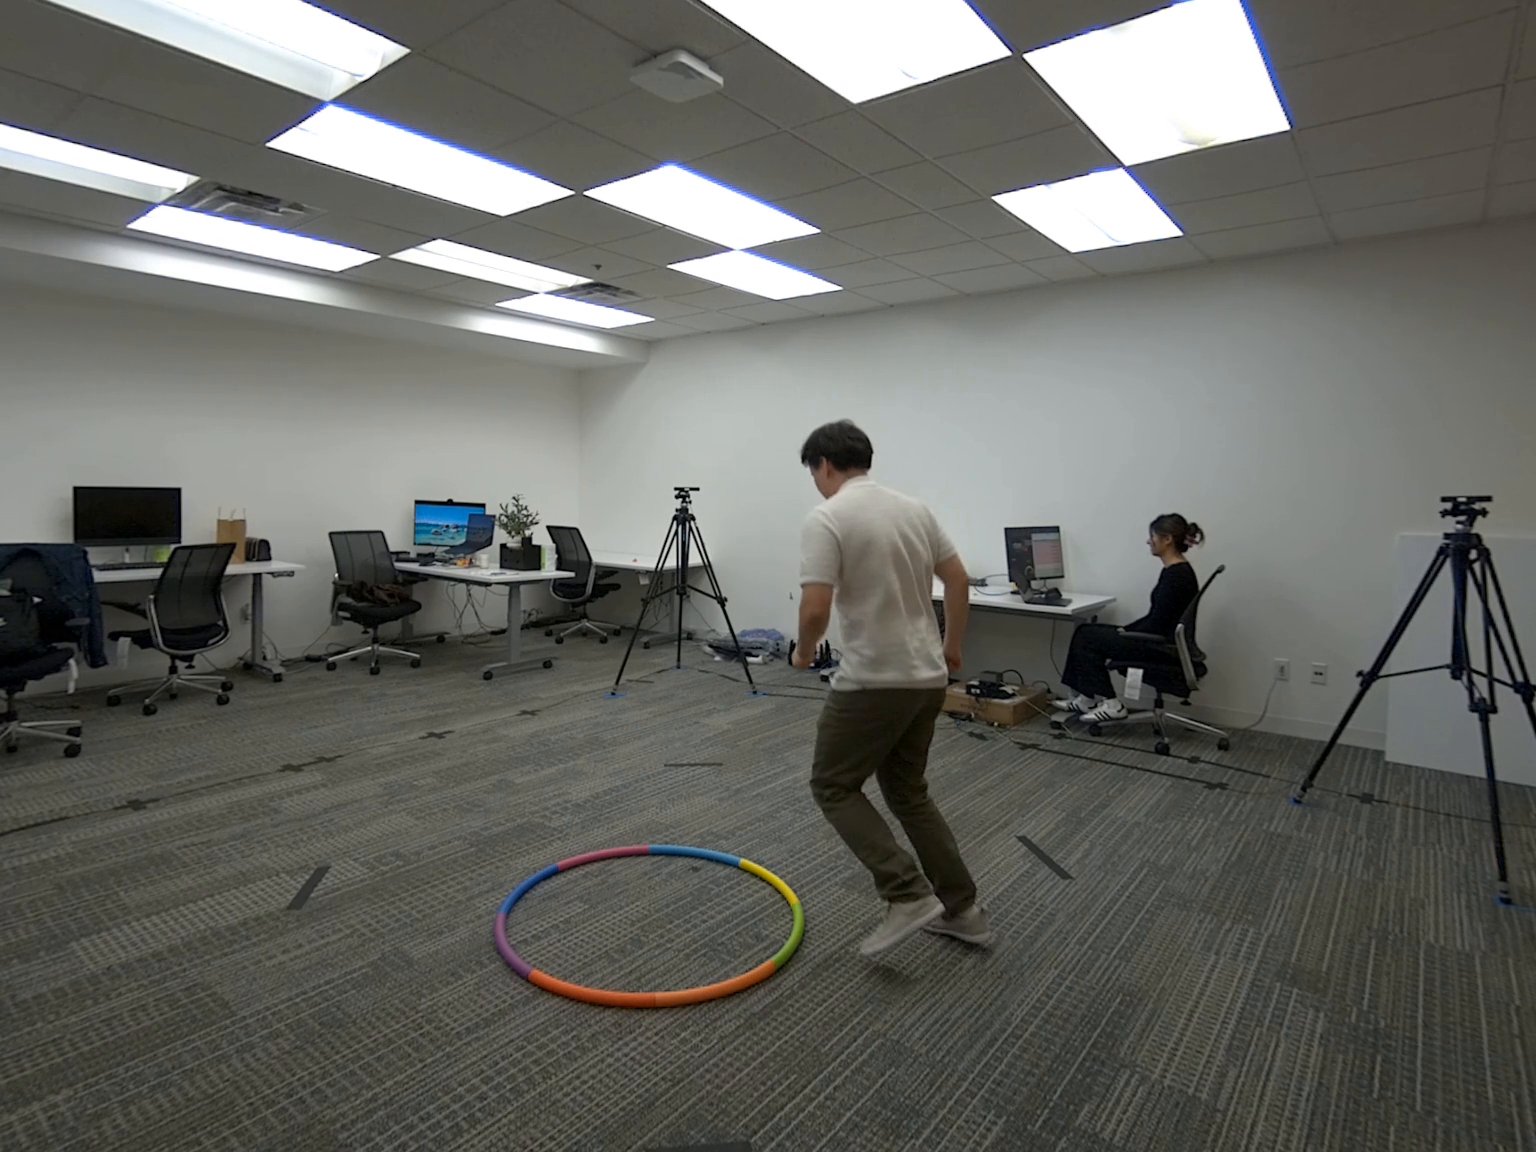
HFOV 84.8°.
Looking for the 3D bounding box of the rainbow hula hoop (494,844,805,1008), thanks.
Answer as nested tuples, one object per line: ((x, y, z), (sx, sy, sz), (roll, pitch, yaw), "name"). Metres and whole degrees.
((-0.382, 1.069, 2.747), (0.978, 0.035, 0.984), (0, 6, -2), "rainbow hula hoop")
